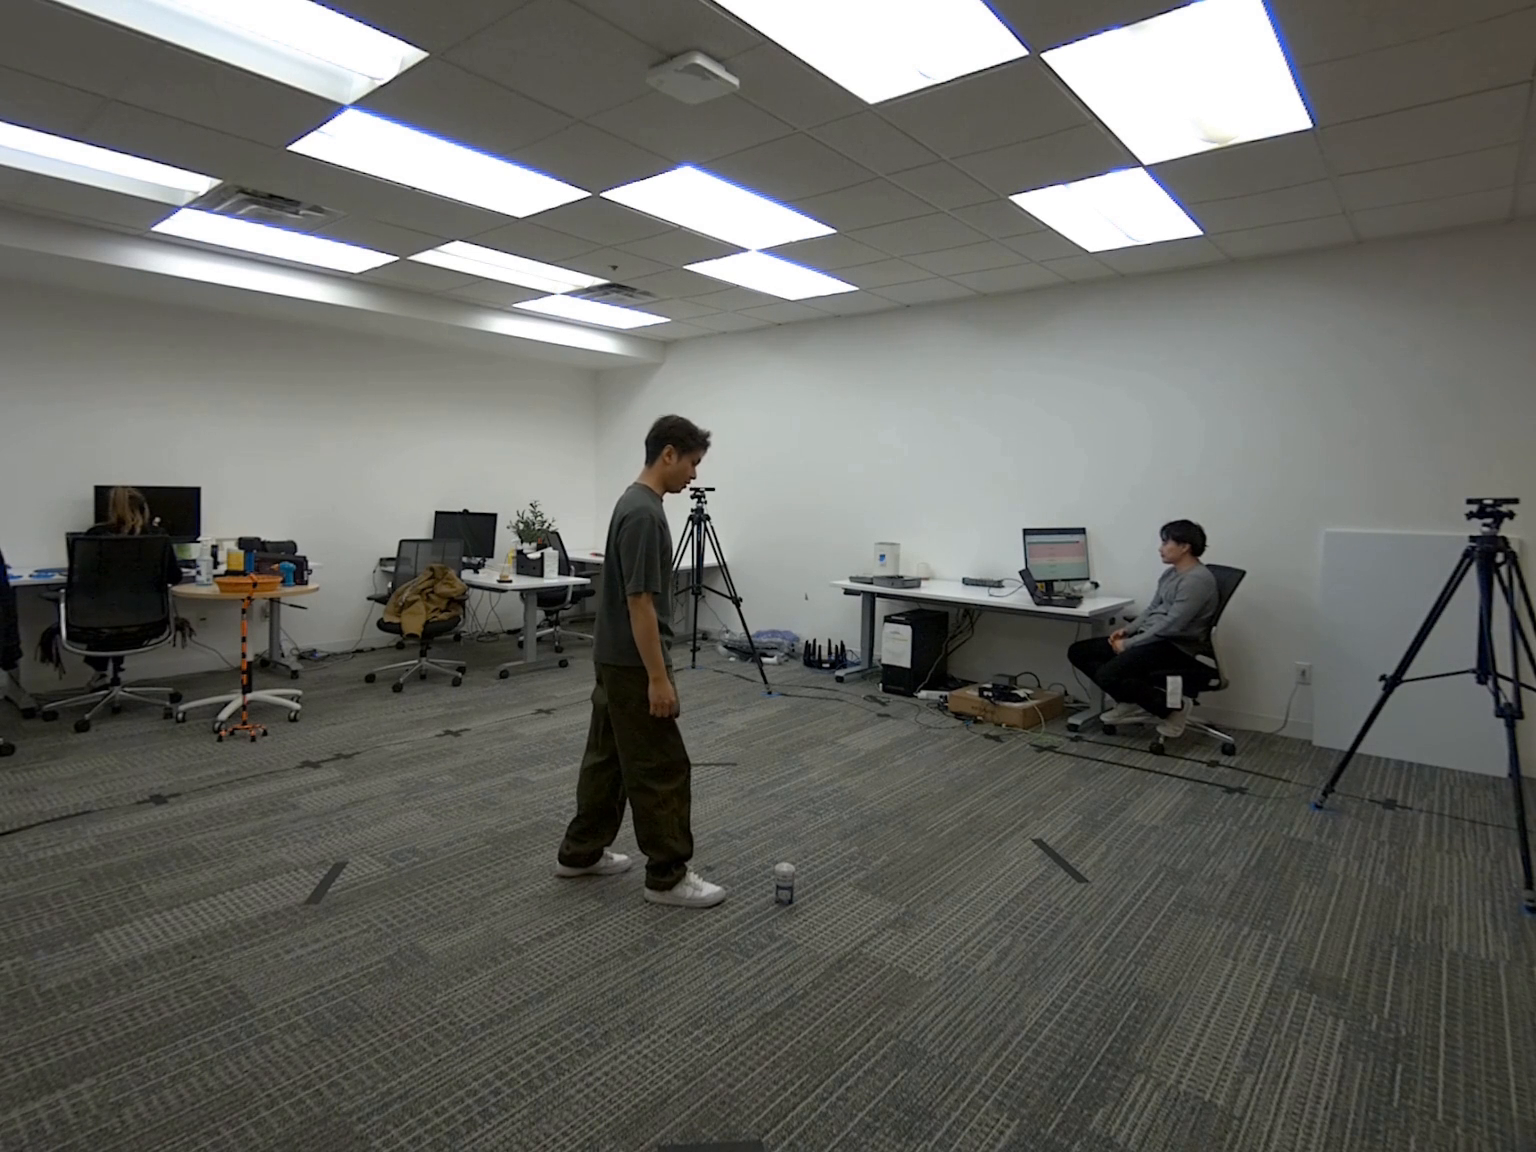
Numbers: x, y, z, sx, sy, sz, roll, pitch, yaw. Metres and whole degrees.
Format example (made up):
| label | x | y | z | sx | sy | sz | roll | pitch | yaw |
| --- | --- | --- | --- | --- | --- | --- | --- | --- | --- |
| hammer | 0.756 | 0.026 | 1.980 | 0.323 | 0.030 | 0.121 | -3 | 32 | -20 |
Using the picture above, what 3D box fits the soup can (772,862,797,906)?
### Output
| label | x | y | z | sx | sy | sz | roll | pitch | yaw |
| --- | --- | --- | --- | --- | --- | --- | --- | --- | --- |
| soup can | 0.044 | 1.041 | 2.865 | 0.067 | 0.121 | 0.067 | 0 | 4 | -2 |
